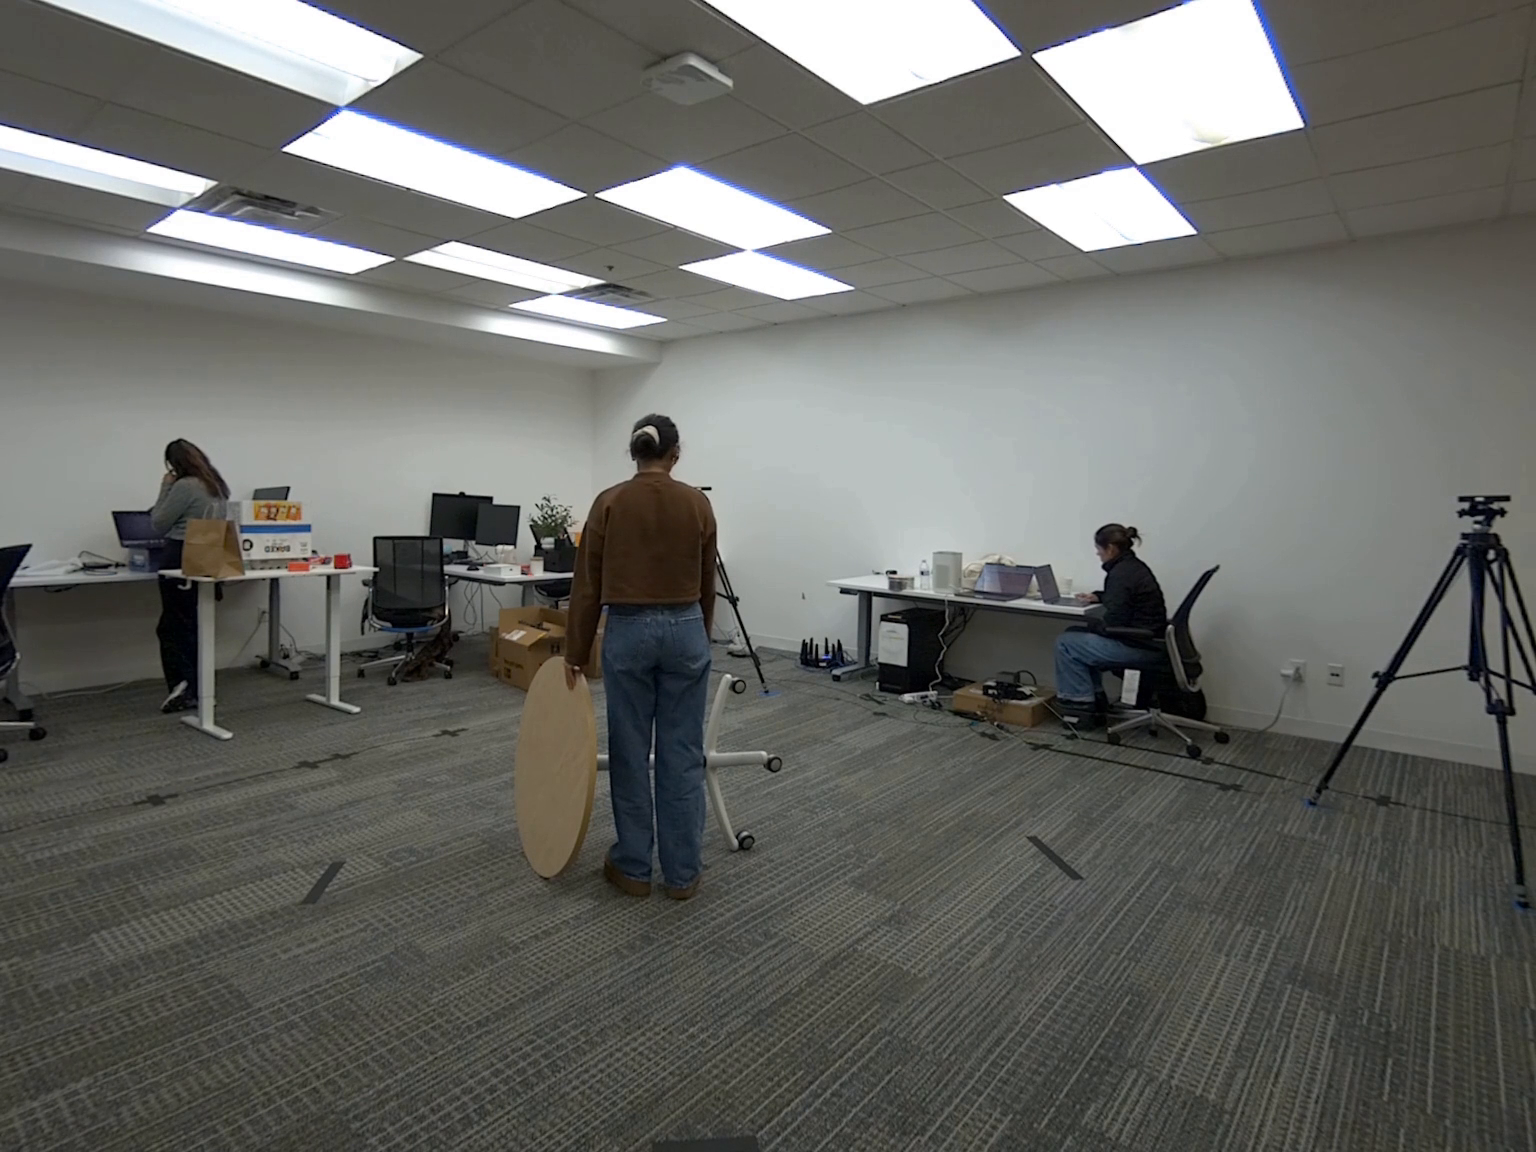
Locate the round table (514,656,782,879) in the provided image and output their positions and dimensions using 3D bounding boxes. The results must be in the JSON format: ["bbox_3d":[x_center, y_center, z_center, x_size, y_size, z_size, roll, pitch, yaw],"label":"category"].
[{"bbox_3d":[-0.481,0.712,3.277,0.769,0.764,0.788,7,0,-32],"label":"round table"}]
